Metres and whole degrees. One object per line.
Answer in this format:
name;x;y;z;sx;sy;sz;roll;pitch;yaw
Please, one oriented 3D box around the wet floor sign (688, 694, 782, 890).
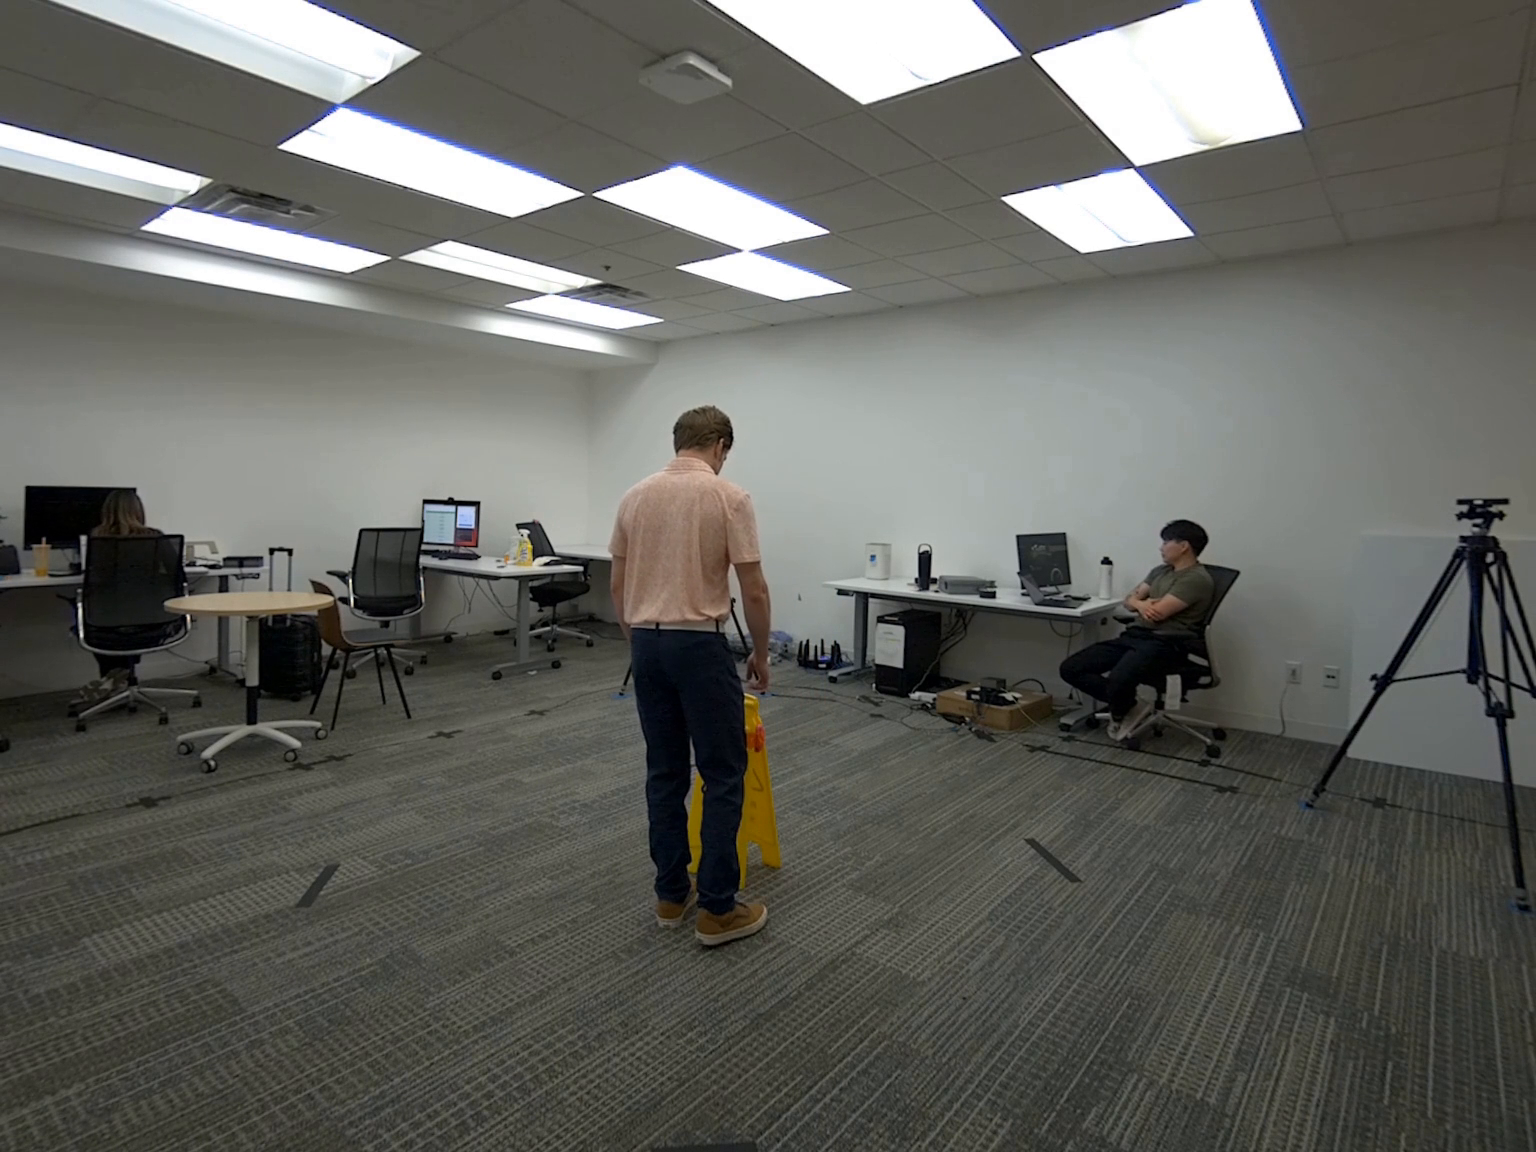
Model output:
wet floor sign;-0.137;0.744;3.107;0.291;0.645;0.281;4;2;37
